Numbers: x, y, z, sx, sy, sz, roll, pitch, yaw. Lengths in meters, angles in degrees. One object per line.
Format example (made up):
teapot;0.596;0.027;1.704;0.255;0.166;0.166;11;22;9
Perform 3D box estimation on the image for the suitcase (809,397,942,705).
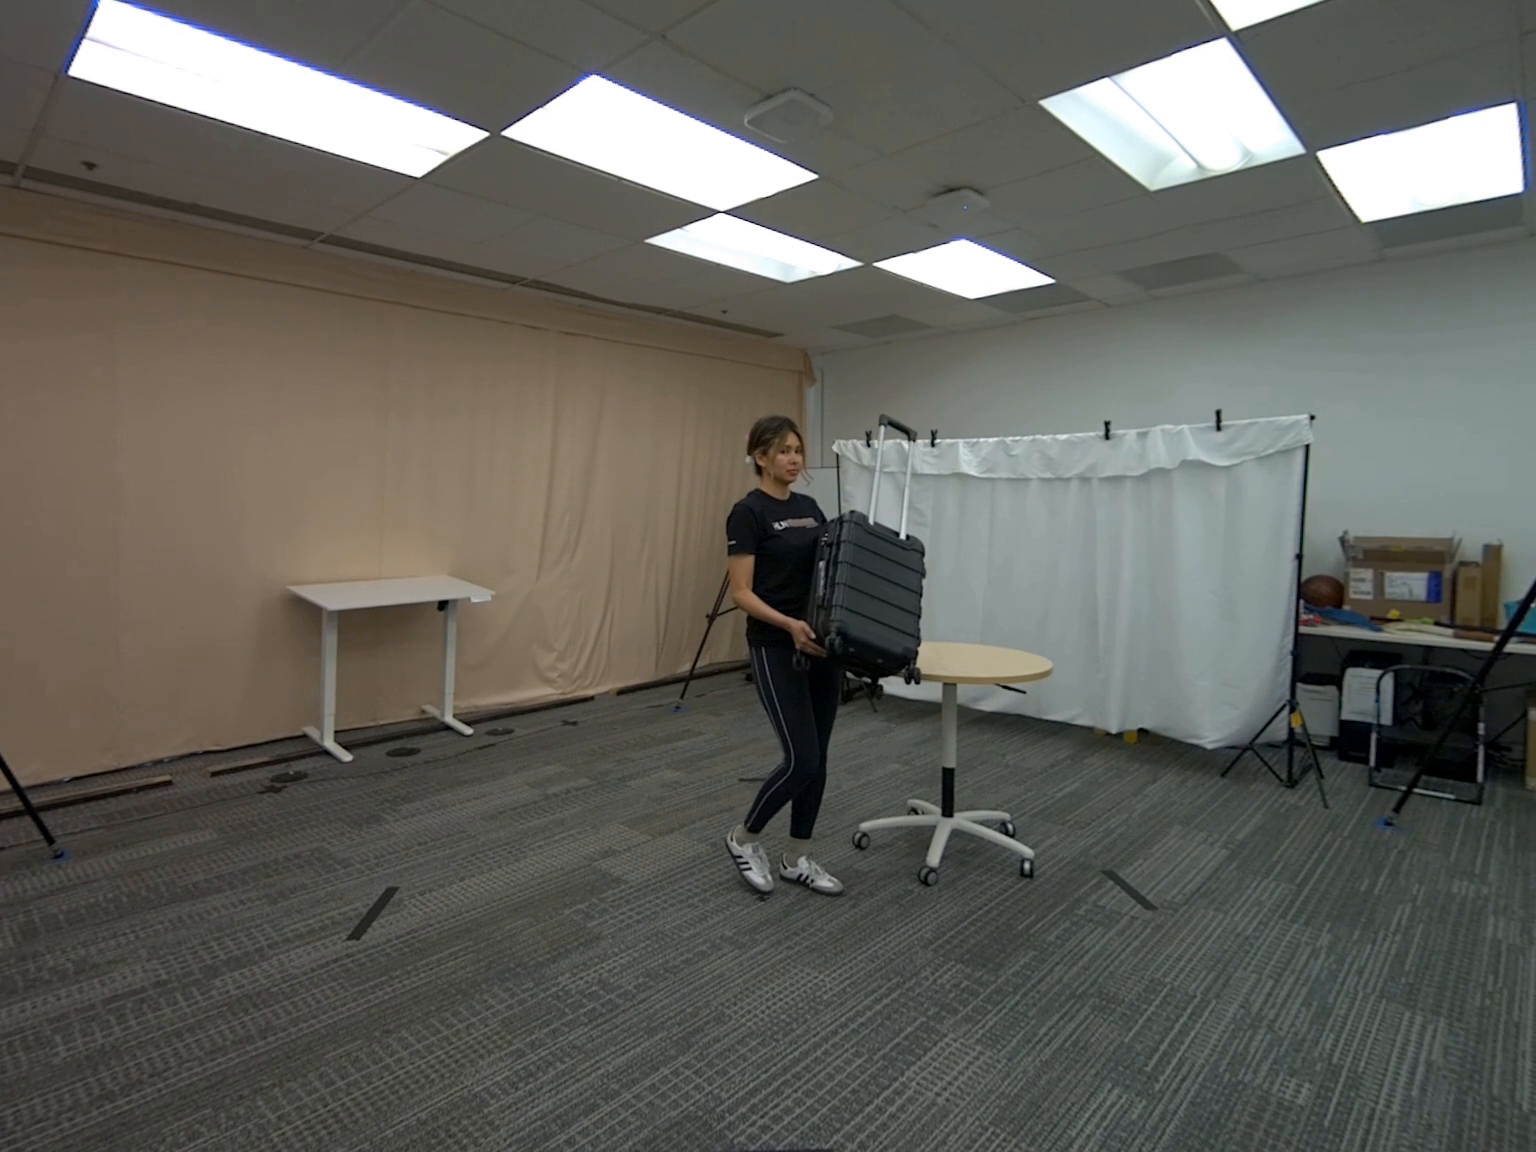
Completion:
suitcase;0.353;-0.105;2.929;0.376;0.990;0.259;20;-33;-19
